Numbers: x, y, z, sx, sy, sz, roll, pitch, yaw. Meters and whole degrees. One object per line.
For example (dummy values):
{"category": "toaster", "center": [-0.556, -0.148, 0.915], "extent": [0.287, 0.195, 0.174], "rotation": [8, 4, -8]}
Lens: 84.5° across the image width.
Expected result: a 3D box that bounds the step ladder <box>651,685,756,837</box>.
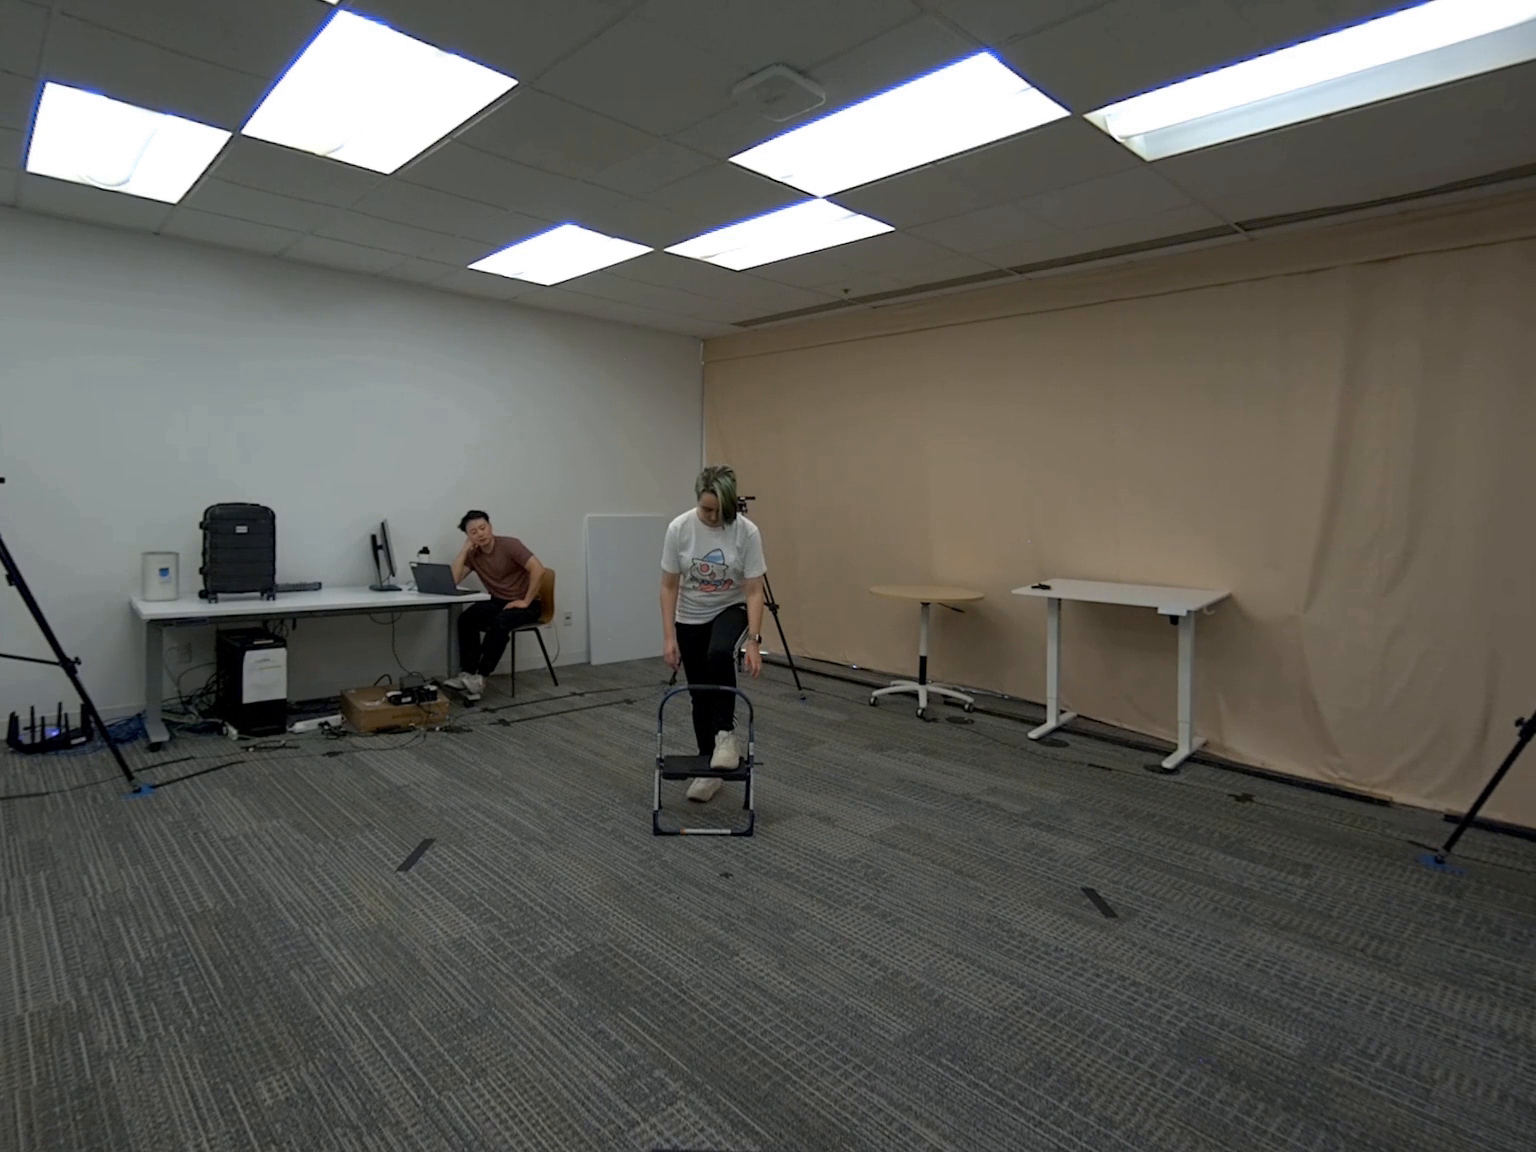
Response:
{"category": "step ladder", "center": [-0.283, 0.757, 3.616], "extent": [0.429, 0.605, 0.351], "rotation": [1, 3, -4]}
